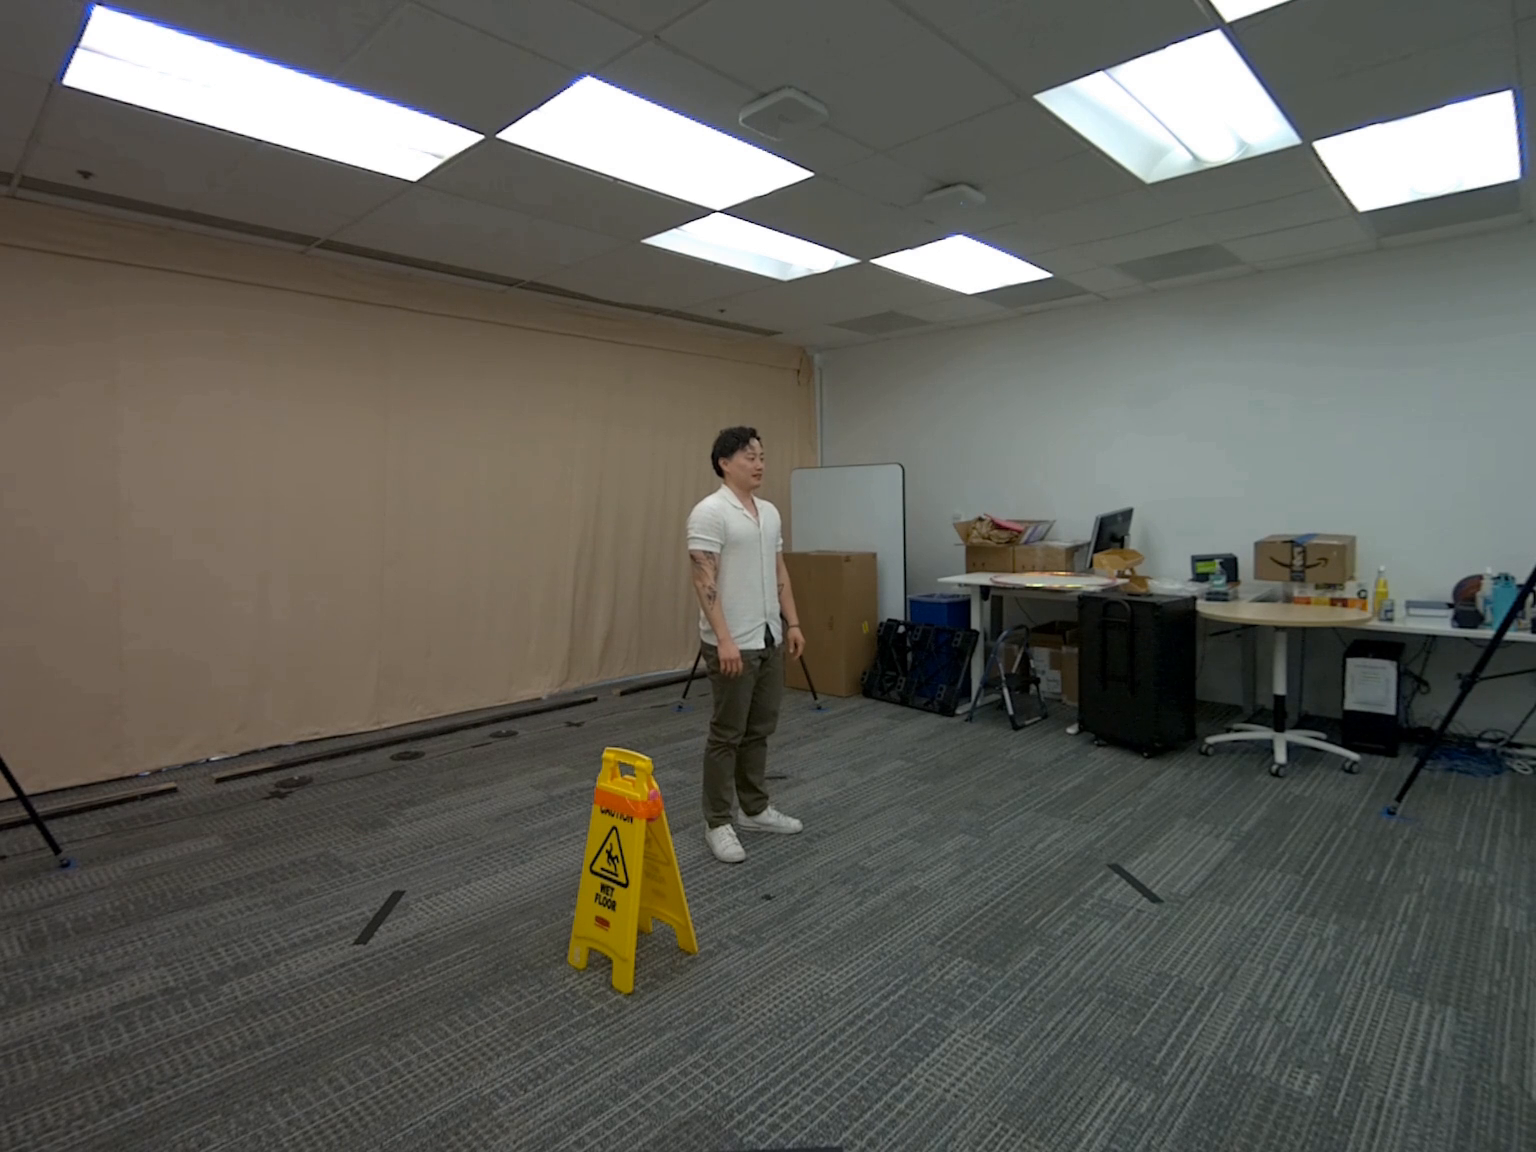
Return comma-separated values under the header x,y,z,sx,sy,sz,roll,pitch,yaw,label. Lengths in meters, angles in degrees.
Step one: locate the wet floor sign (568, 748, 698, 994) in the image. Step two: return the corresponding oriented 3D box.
x,y,z,sx,sy,sz,roll,pitch,yaw,label
-0.424,0.860,2.580,0.291,0.645,0.281,0,4,40,wet floor sign
